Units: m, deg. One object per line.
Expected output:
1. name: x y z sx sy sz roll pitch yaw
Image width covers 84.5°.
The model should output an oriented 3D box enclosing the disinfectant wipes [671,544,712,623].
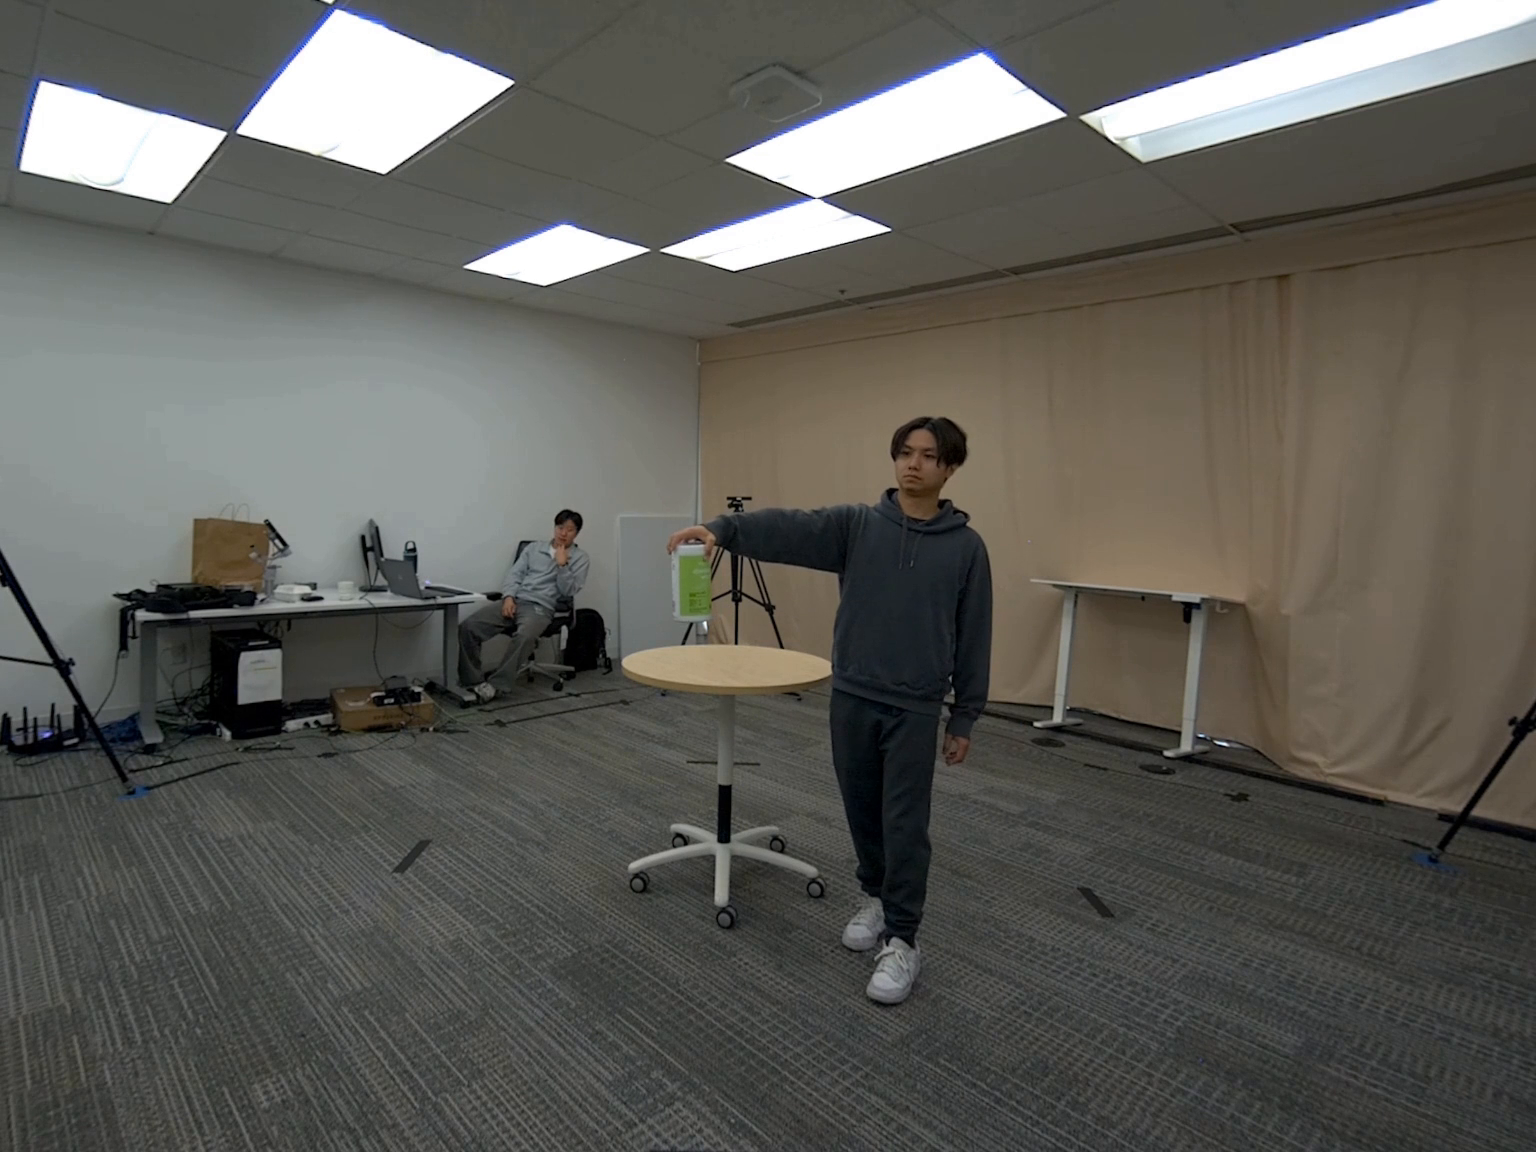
1. disinfectant wipes: -0.225 0.015 2.350 0.118 0.217 0.118 -1 4 -1
